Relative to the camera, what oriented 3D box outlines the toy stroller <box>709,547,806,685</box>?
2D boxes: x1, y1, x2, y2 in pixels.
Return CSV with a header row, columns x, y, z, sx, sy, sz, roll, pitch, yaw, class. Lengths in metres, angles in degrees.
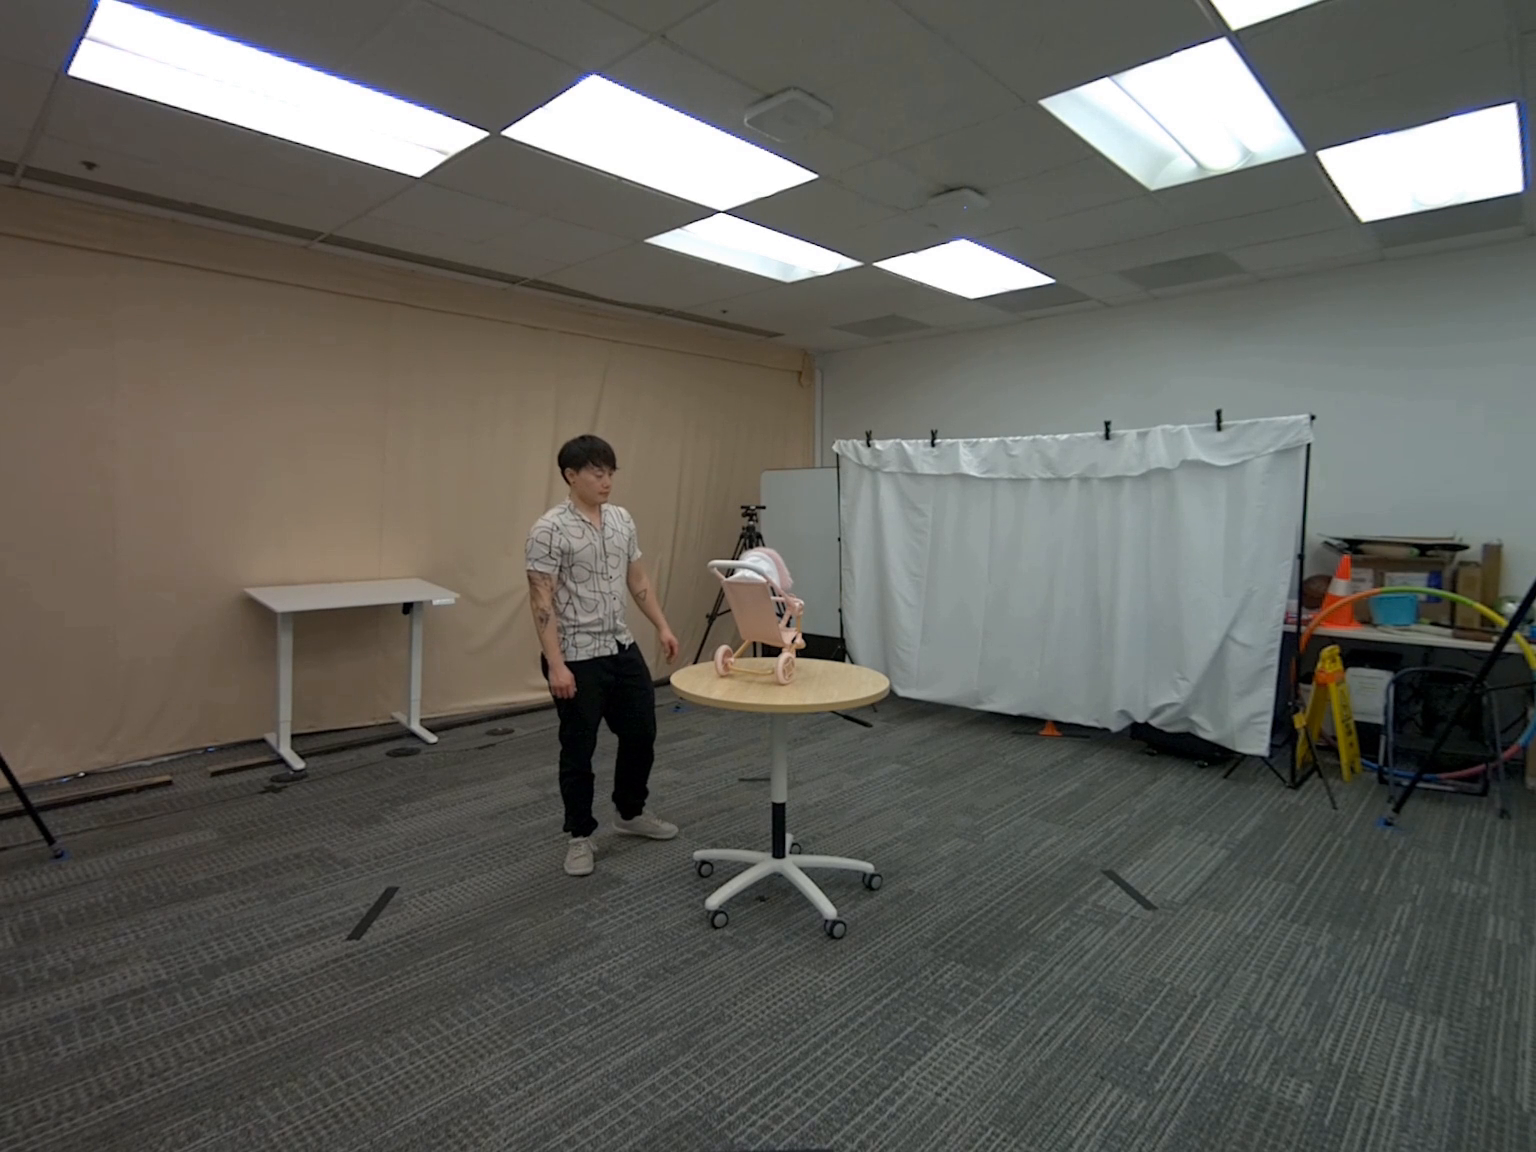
x,y,z,sx,sy,sz,roll,pitch,yaw,class
-0.007,0.136,2.967,0.290,0.528,0.335,3,22,35,toy stroller
